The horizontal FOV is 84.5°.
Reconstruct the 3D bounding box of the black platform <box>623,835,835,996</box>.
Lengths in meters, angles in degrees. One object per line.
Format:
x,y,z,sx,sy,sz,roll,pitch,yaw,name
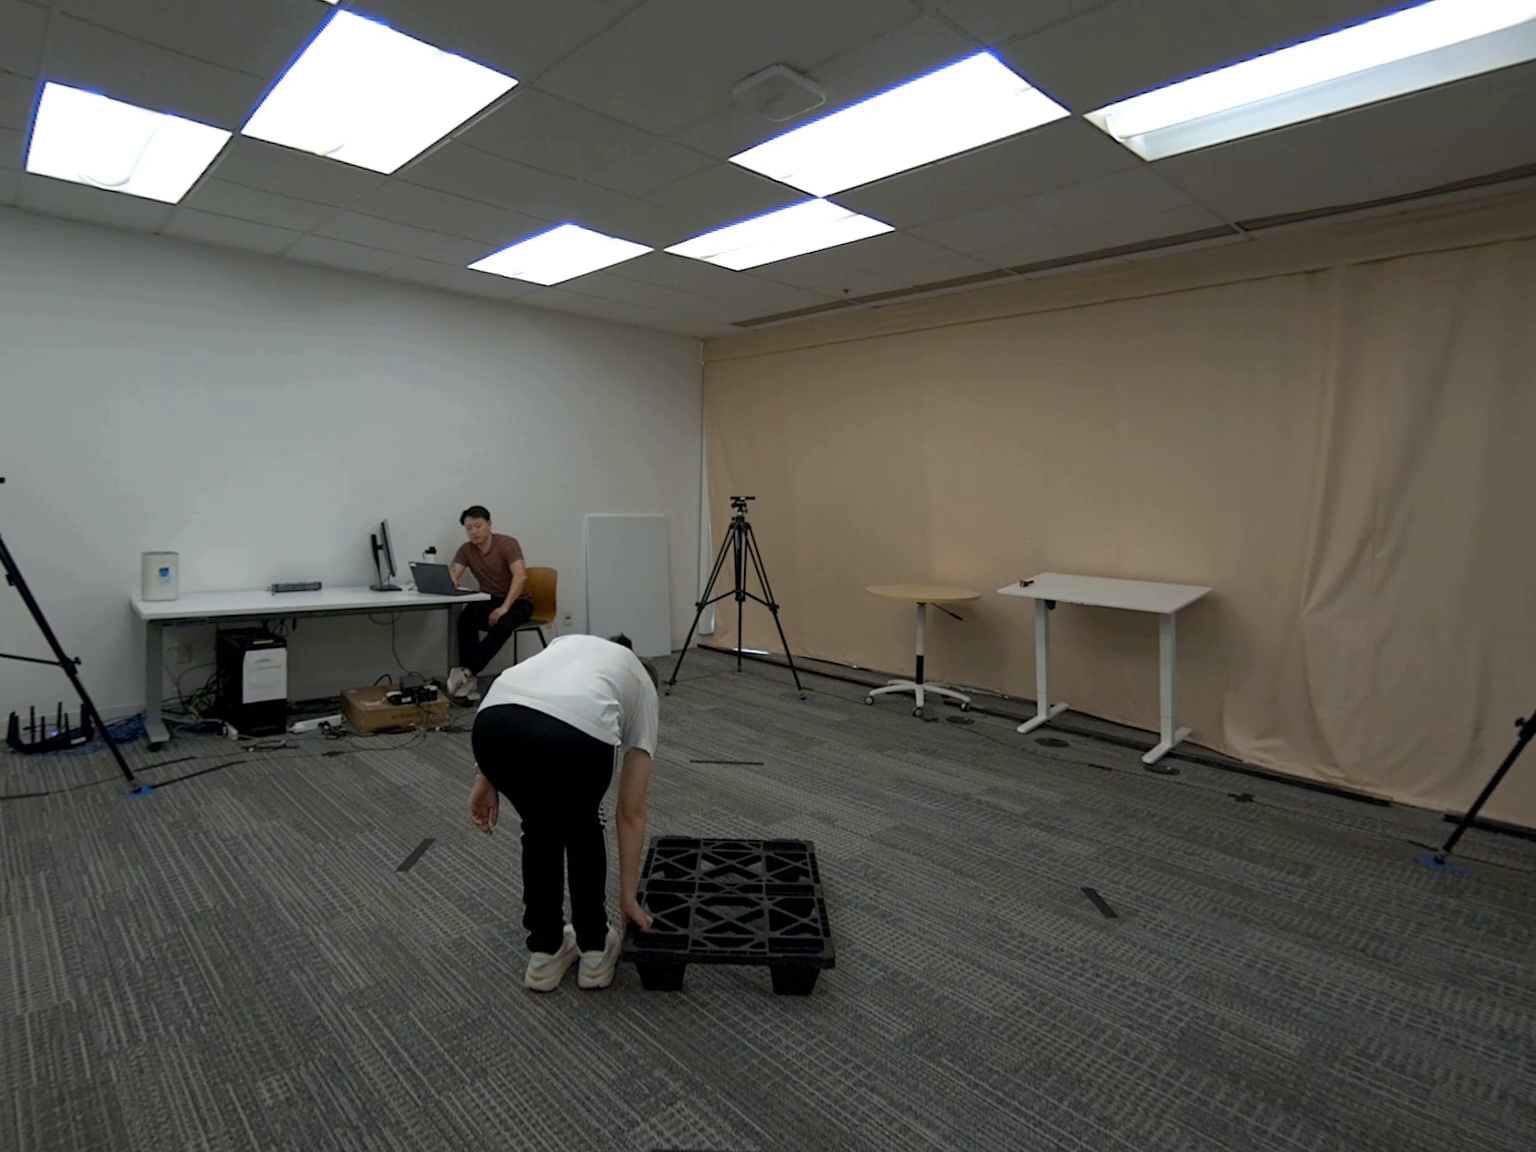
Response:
-0.125,1.071,2.724,0.605,0.143,0.808,2,5,0,black platform
